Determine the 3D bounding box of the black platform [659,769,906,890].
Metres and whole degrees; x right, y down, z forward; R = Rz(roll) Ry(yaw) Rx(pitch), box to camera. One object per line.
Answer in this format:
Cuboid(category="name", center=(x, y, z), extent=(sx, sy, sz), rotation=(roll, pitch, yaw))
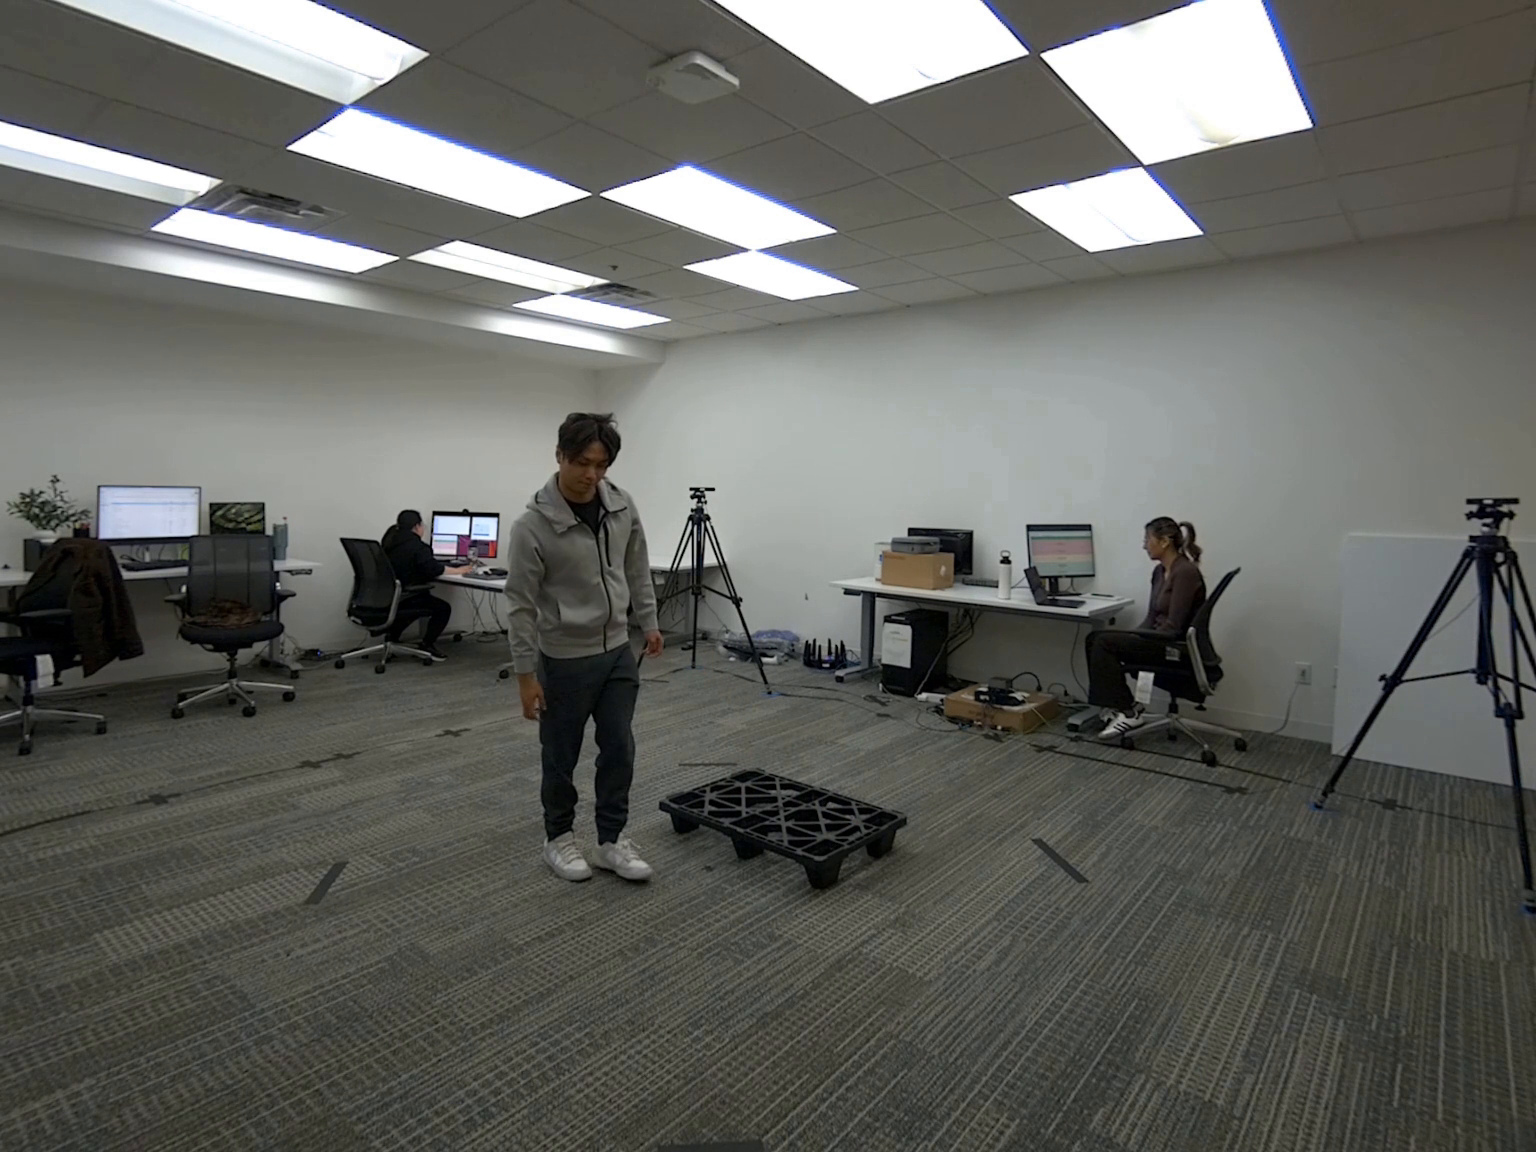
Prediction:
Cuboid(category="black platform", center=(0.040, 0.980, 3.364), extent=(0.833, 0.143, 0.587), rotation=(6, 8, 40))
